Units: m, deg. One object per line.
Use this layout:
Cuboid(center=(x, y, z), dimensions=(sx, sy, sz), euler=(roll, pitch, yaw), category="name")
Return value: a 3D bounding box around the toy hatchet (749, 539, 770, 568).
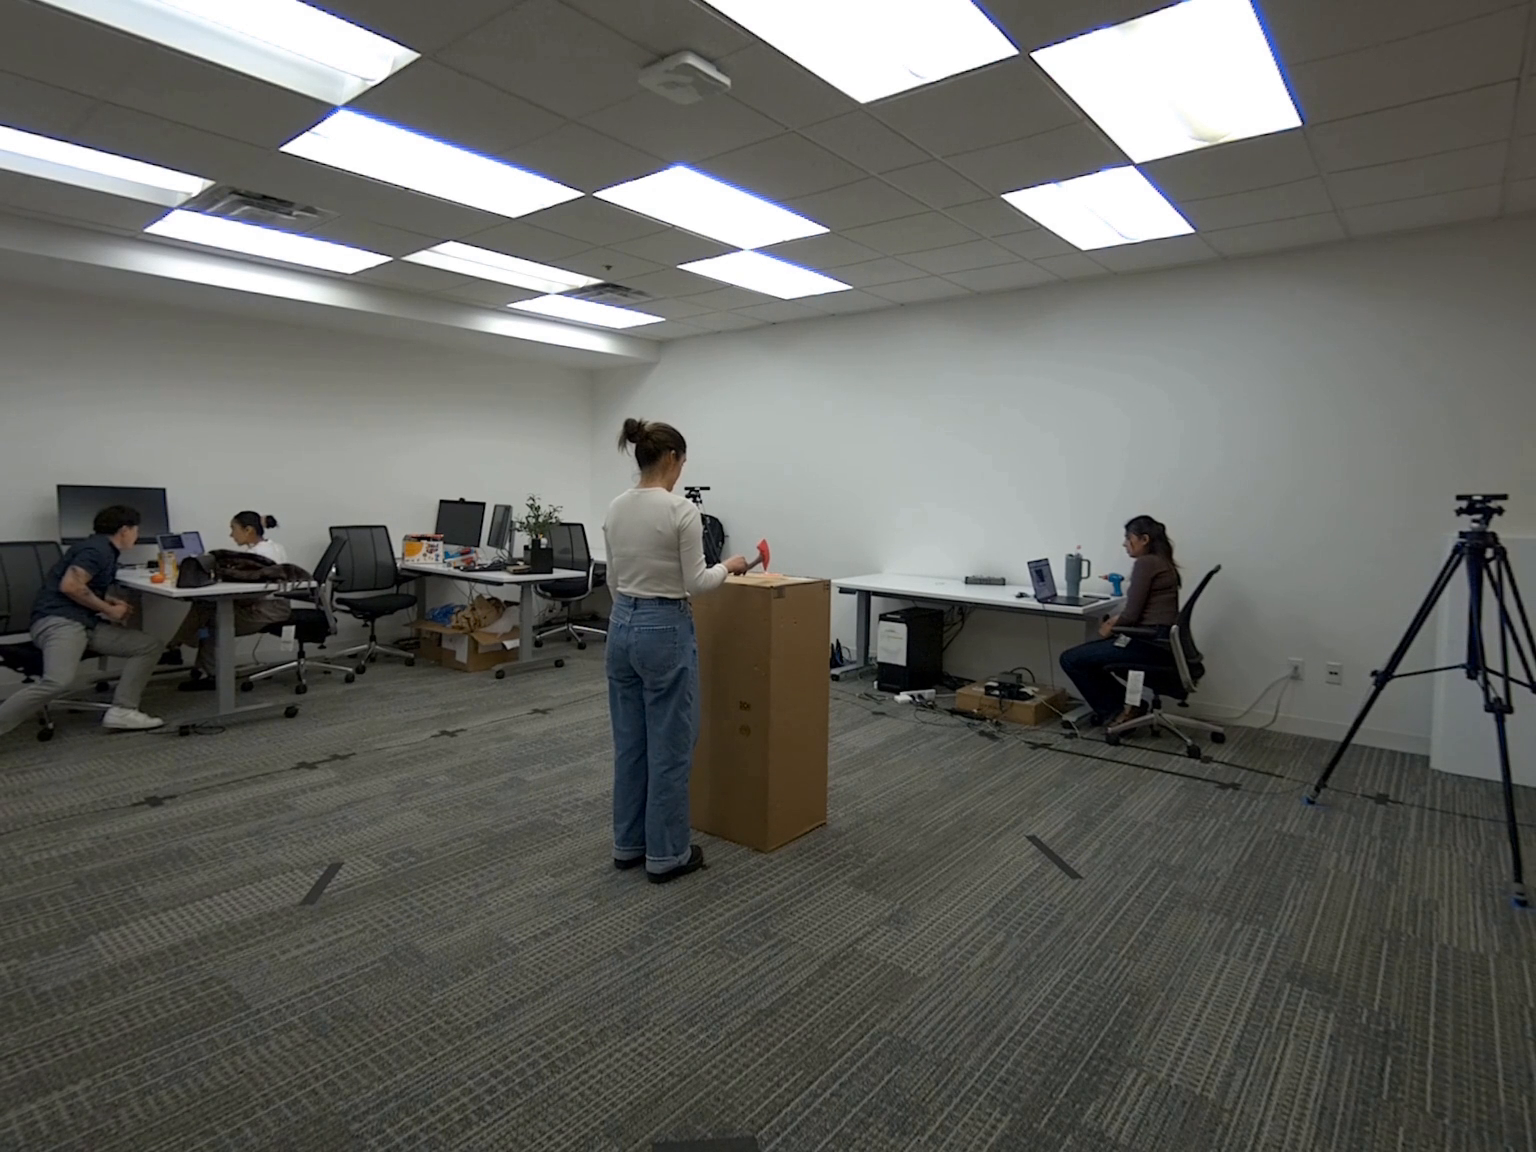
Cuboid(center=(-0.055, -0.078, 3.311), dimensions=(0.030, 0.130, 0.263), euler=(9, 6, 26), category="toy hatchet")
